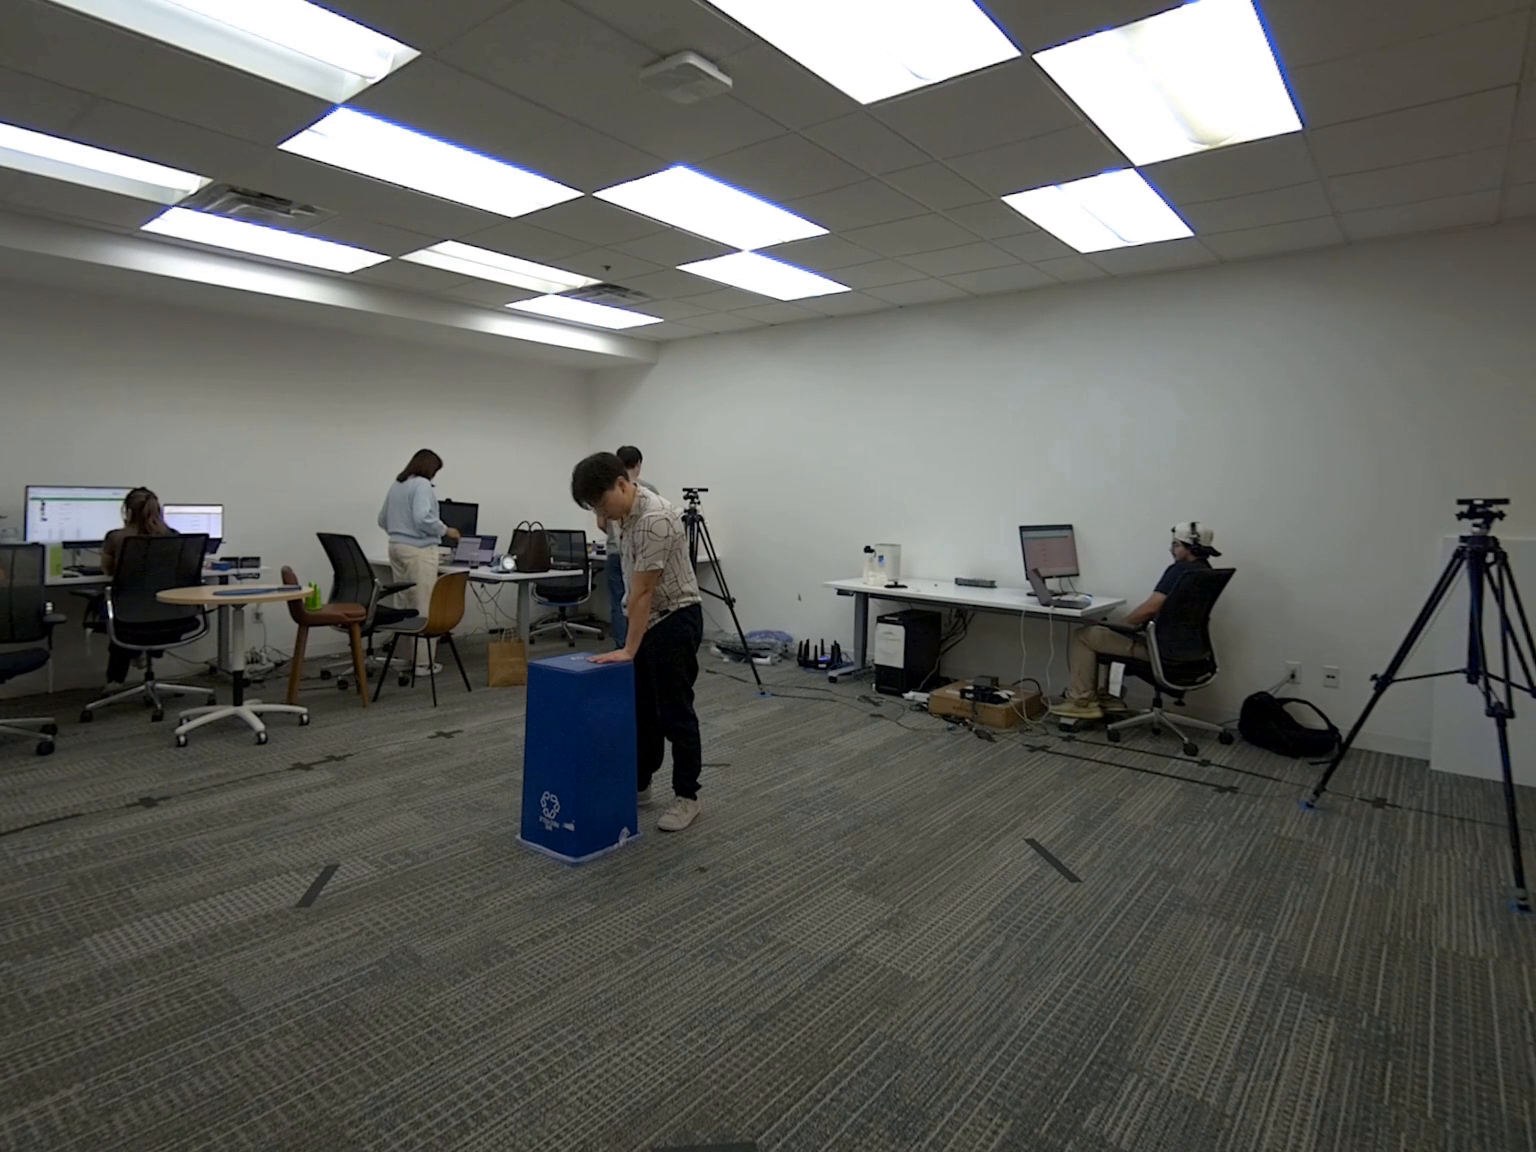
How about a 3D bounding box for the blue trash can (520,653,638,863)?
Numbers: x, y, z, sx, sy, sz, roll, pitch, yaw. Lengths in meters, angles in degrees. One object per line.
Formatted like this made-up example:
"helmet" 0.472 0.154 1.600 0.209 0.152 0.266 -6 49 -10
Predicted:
"blue trash can" -0.753 0.683 3.350 0.386 0.712 0.367 2 3 37
